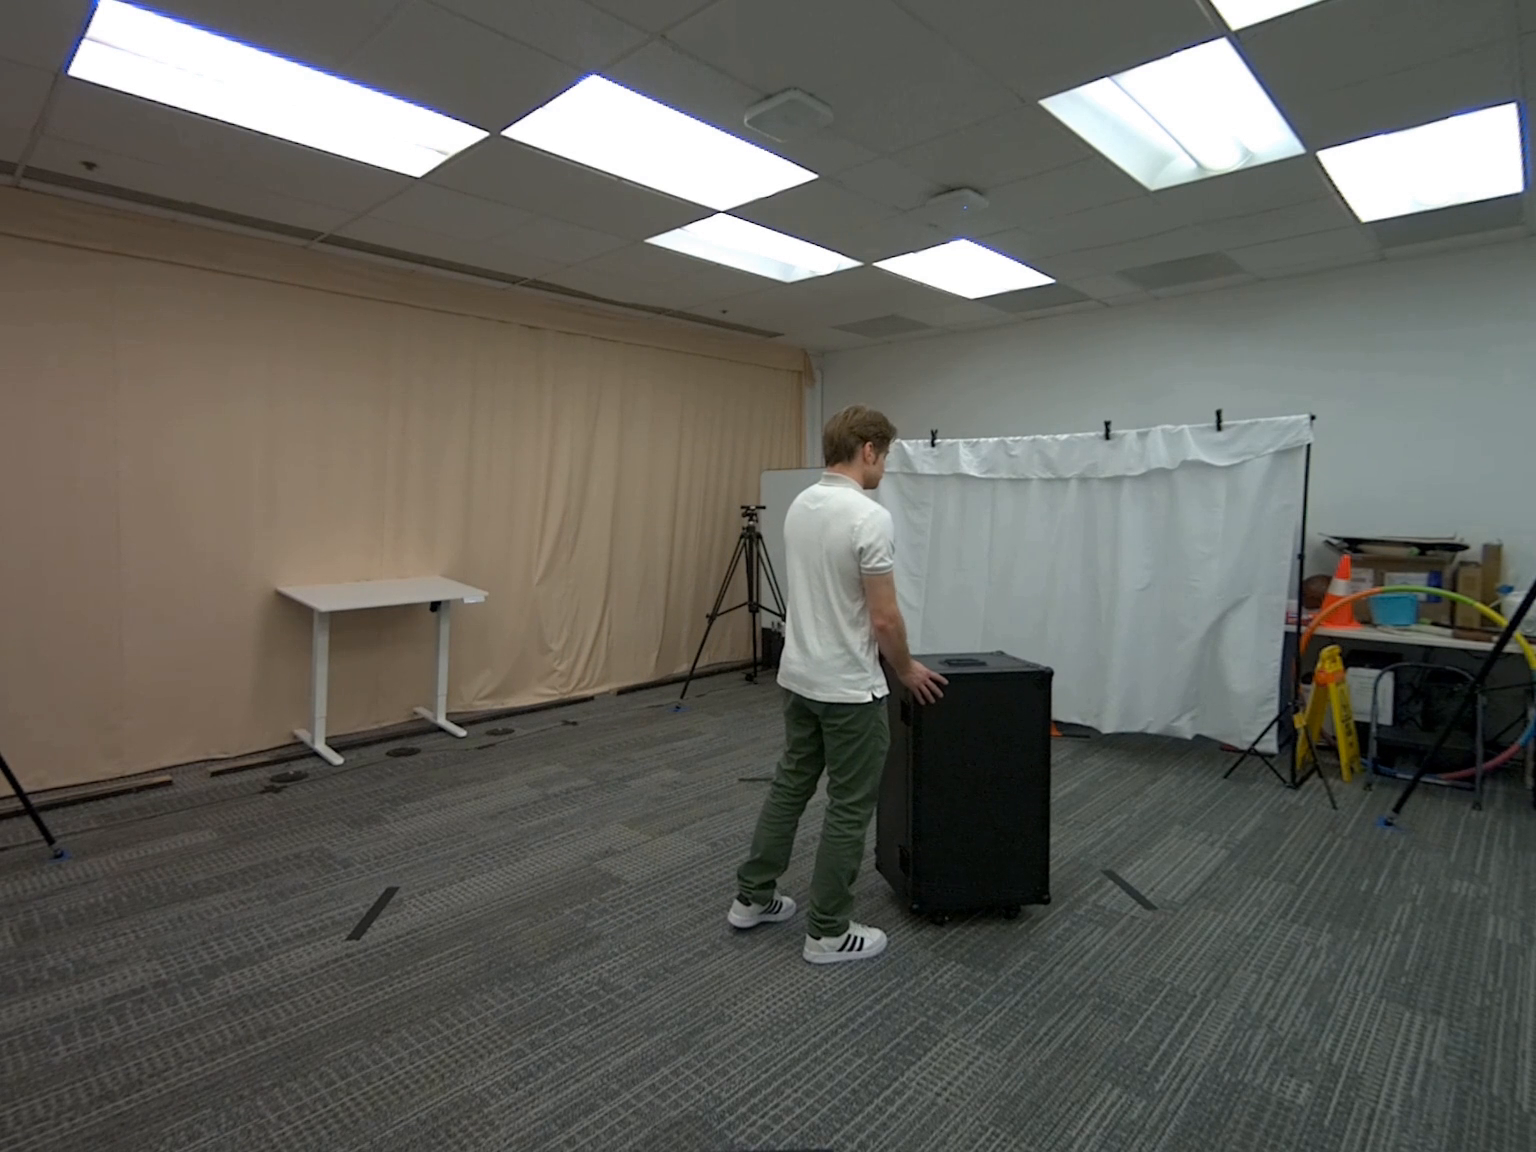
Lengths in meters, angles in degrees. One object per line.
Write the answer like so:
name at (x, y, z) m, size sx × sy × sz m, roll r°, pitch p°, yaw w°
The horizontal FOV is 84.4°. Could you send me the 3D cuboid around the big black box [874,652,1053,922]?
big black box at (0.664, 0.726, 2.914) m, size 0.518 × 0.867 × 0.390 m, roll -1°, pitch 3°, yaw -10°
